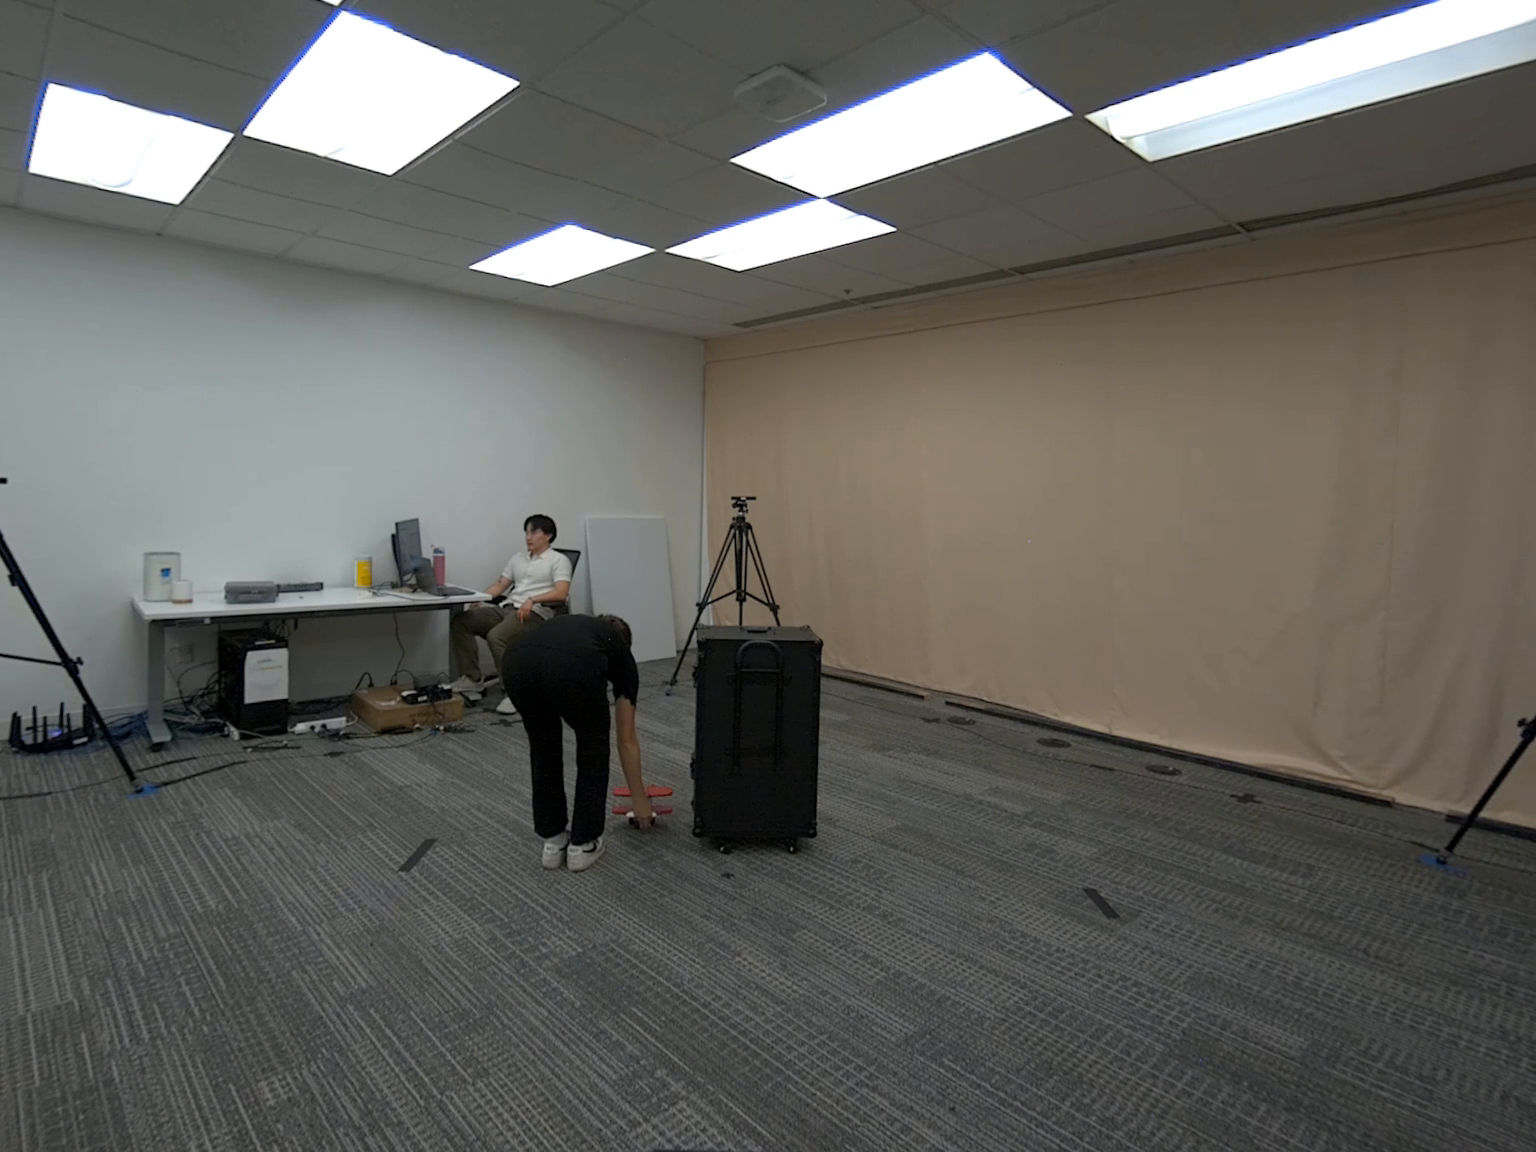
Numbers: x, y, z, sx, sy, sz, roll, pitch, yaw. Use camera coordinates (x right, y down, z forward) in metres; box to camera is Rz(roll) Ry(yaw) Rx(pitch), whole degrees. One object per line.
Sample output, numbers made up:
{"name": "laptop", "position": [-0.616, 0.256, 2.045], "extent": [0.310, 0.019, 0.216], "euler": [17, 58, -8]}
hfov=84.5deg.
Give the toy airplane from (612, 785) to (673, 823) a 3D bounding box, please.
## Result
{"name": "toy airplane", "position": [-0.512, 0.964, 3.513], "extent": [0.245, 0.158, 0.263], "euler": [7, -13, -33]}
